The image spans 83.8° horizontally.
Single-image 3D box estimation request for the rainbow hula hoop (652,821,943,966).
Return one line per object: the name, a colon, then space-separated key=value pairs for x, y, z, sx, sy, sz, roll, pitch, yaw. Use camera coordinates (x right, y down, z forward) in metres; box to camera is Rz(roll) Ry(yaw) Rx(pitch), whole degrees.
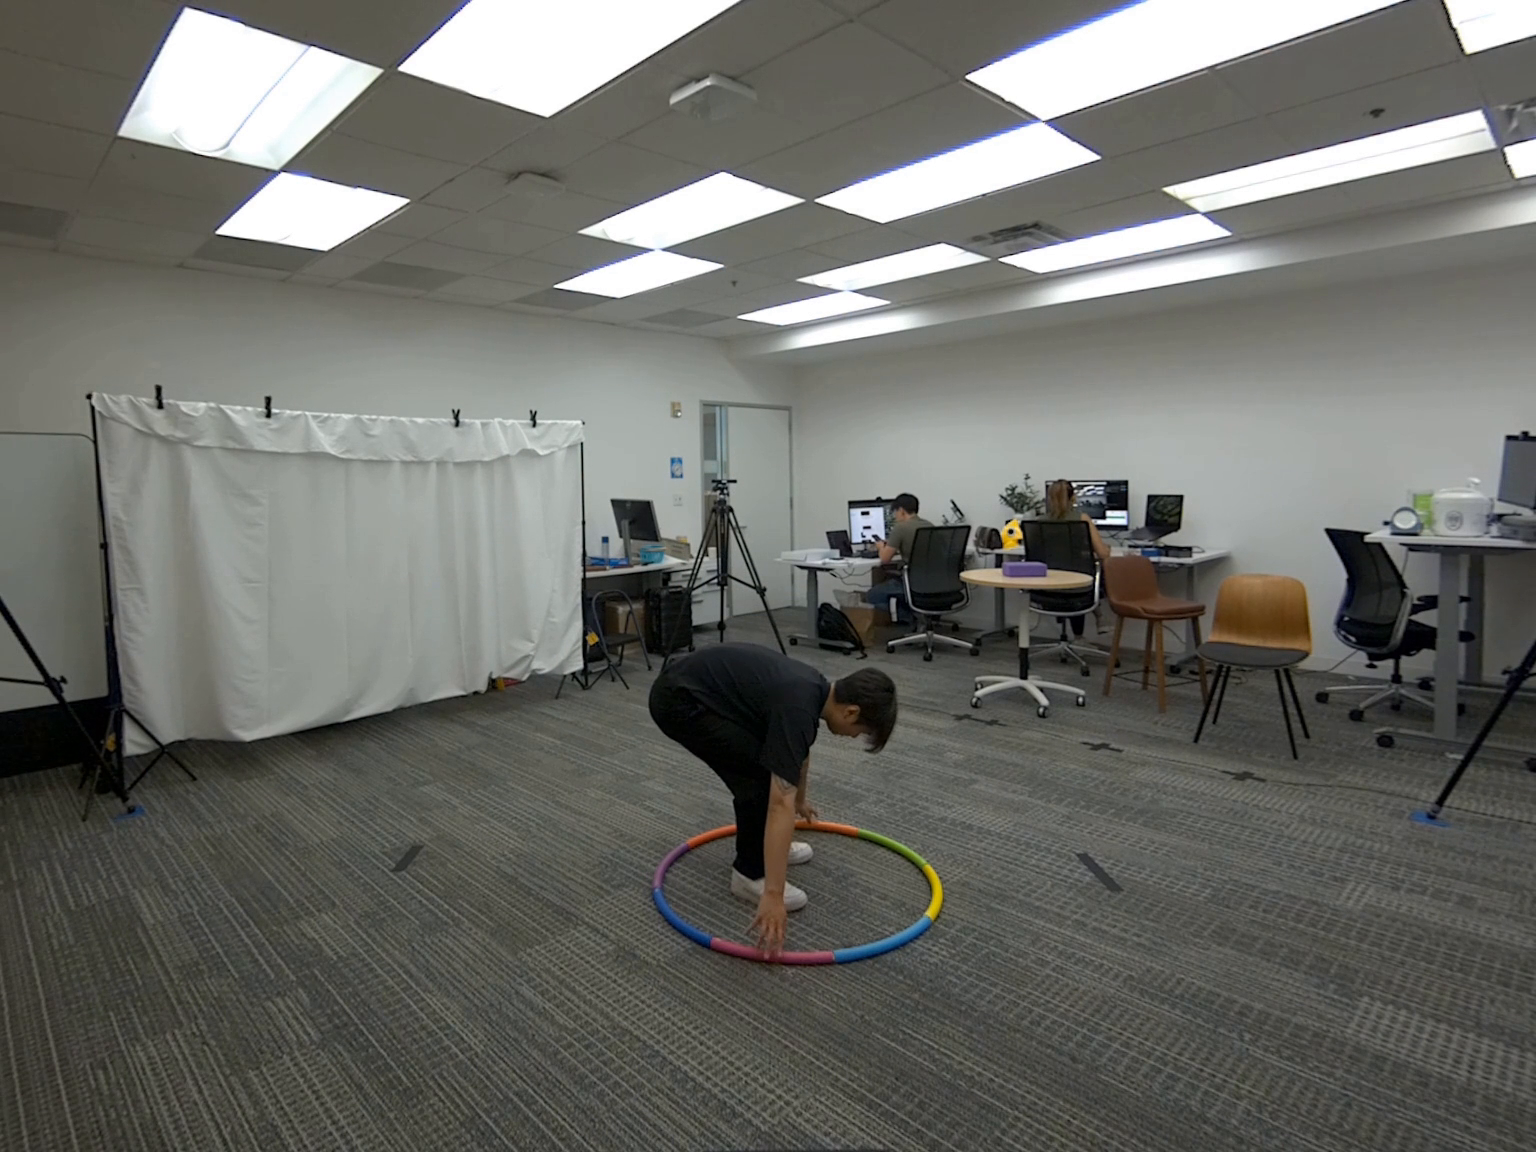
rainbow hula hoop: x=0.093 y=1.034 z=2.942 sx=0.978 sy=0.035 sz=0.984 roll=-2 pitch=7 yaw=-2
